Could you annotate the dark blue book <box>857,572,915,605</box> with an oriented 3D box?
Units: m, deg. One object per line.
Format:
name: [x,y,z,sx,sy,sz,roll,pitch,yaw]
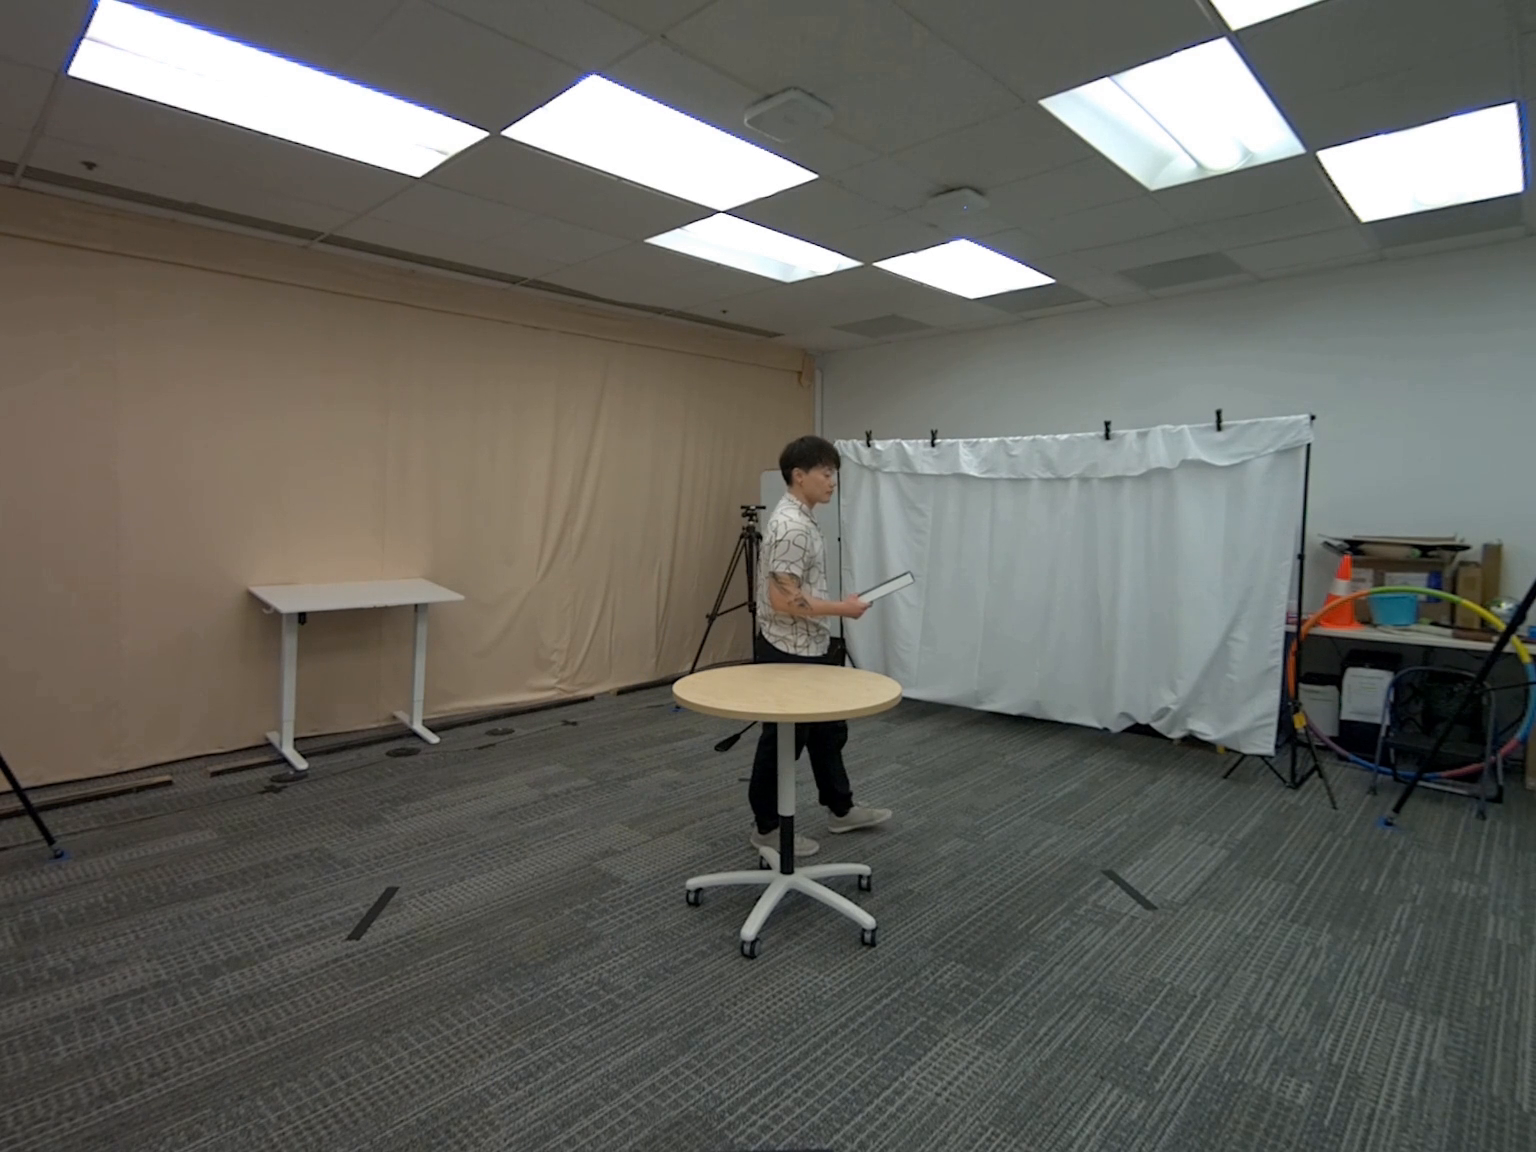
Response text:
dark blue book: [0.443,0.046,3.265,0.246,0.045,0.163,-24,2,7]
